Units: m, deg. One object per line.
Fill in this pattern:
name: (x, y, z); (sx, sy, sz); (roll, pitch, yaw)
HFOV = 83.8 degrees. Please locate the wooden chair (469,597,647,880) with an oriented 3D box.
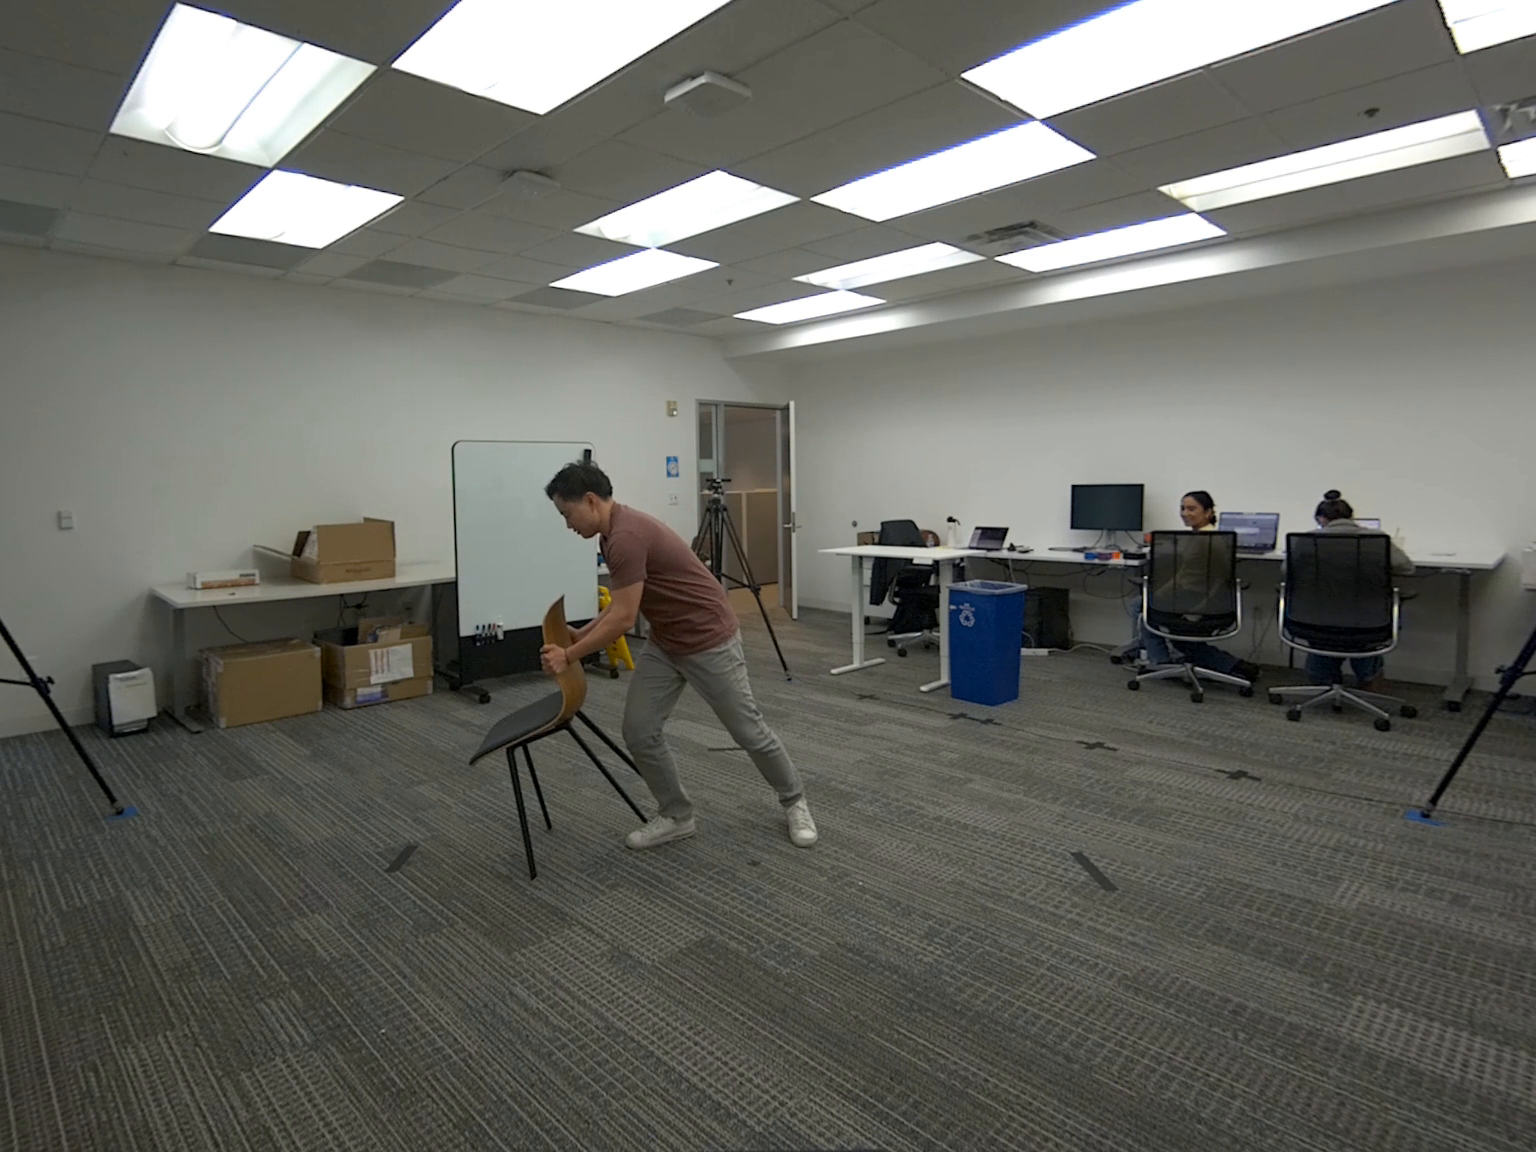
wooden chair: (-0.854, 0.570, 3.193); (0.522, 0.872, 0.482); (-22, 6, -3)
